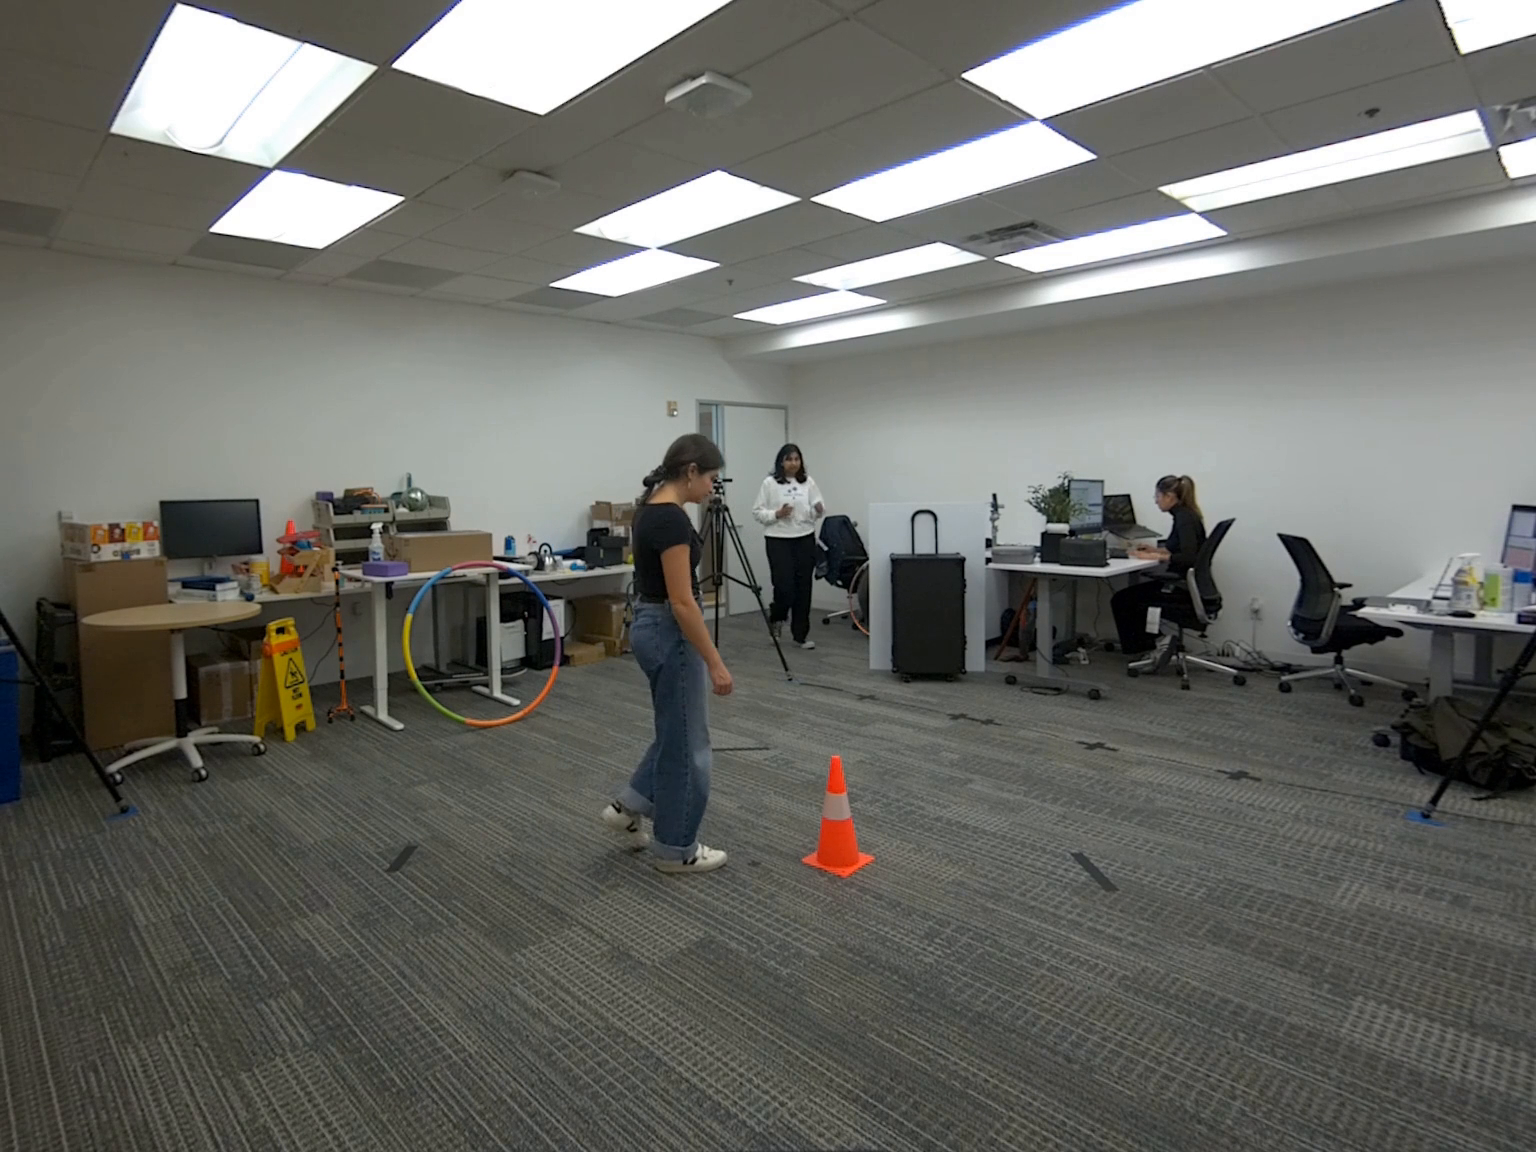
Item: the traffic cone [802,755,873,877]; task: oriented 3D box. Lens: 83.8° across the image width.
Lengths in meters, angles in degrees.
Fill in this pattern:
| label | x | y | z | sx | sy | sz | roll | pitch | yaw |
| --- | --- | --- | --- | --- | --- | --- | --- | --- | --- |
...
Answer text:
| label | x | y | z | sx | sy | sz | roll | pitch | yaw |
| --- | --- | --- | --- | --- | --- | --- | --- | --- | --- |
| traffic cone | 0.256 | 0.854 | 3.111 | 0.211 | 0.382 | 0.198 | 1 | 6 | 37 |
